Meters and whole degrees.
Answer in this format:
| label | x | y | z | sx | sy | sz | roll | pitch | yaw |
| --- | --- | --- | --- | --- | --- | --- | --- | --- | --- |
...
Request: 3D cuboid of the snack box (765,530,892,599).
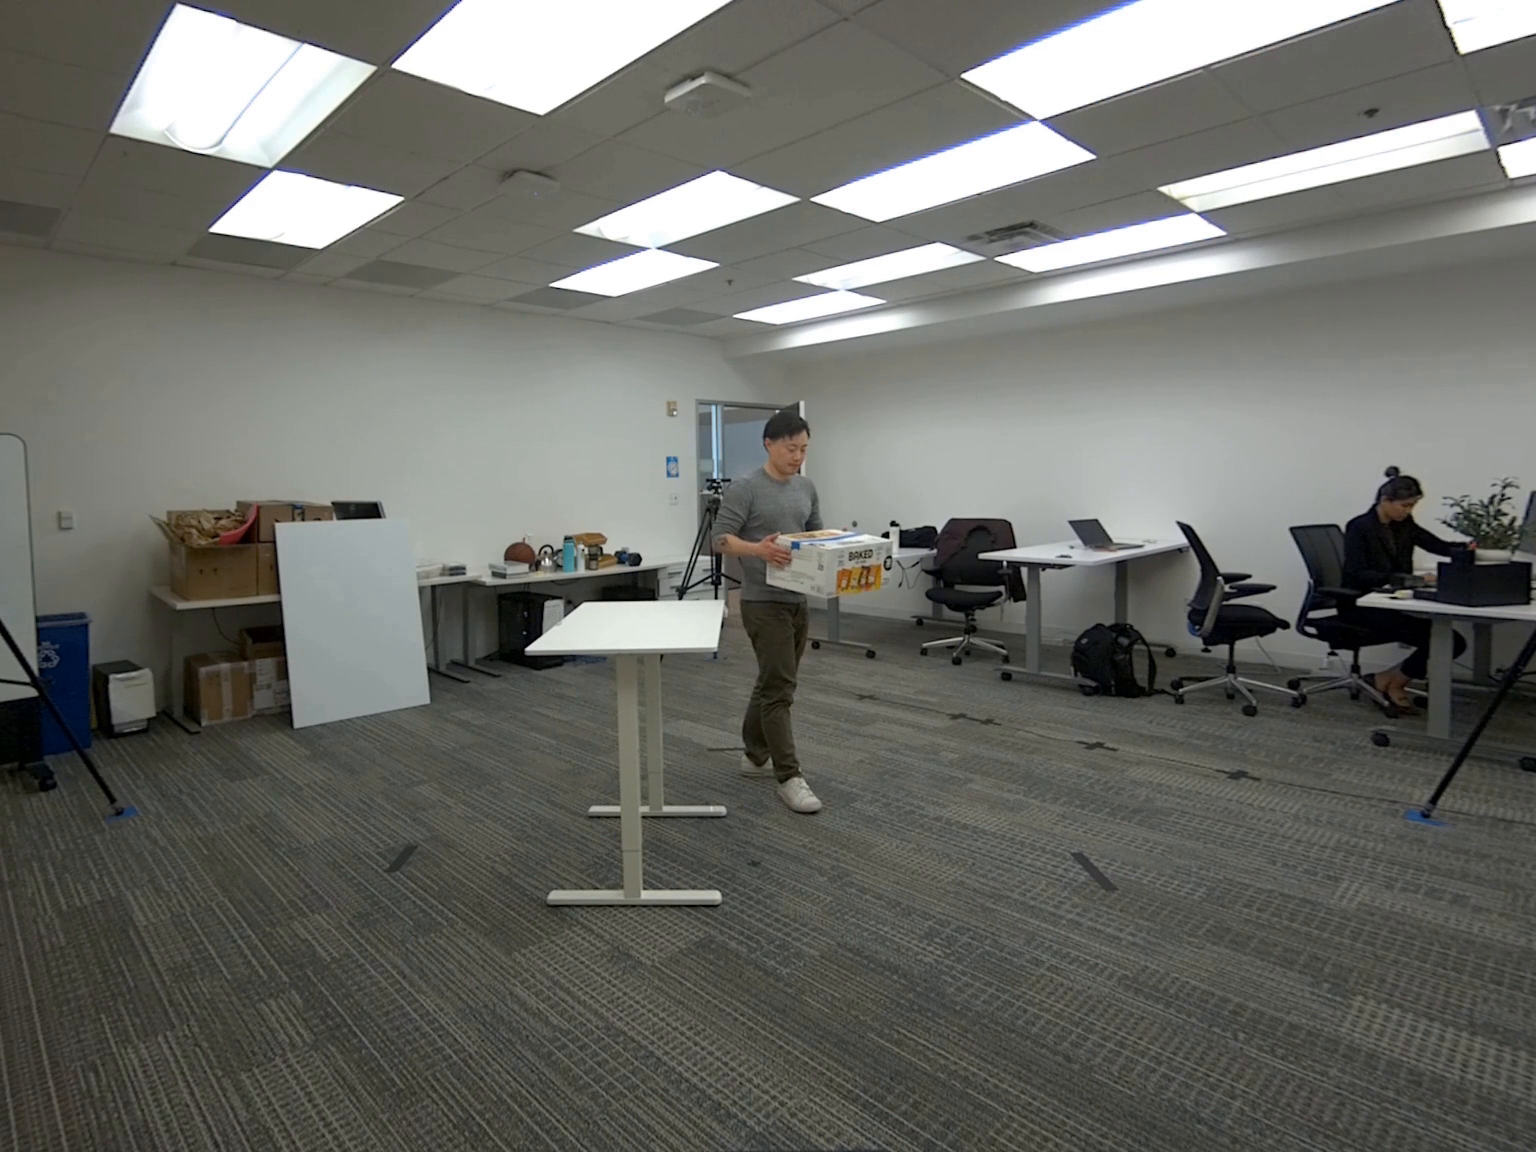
| label | x | y | z | sx | sy | sz | roll | pitch | yaw |
| --- | --- | --- | --- | --- | --- | --- | --- | --- | --- |
| snack box | 0.258 | -0.057 | 3.565 | 0.395 | 0.204 | 0.352 | -8 | 14 | -41 |
